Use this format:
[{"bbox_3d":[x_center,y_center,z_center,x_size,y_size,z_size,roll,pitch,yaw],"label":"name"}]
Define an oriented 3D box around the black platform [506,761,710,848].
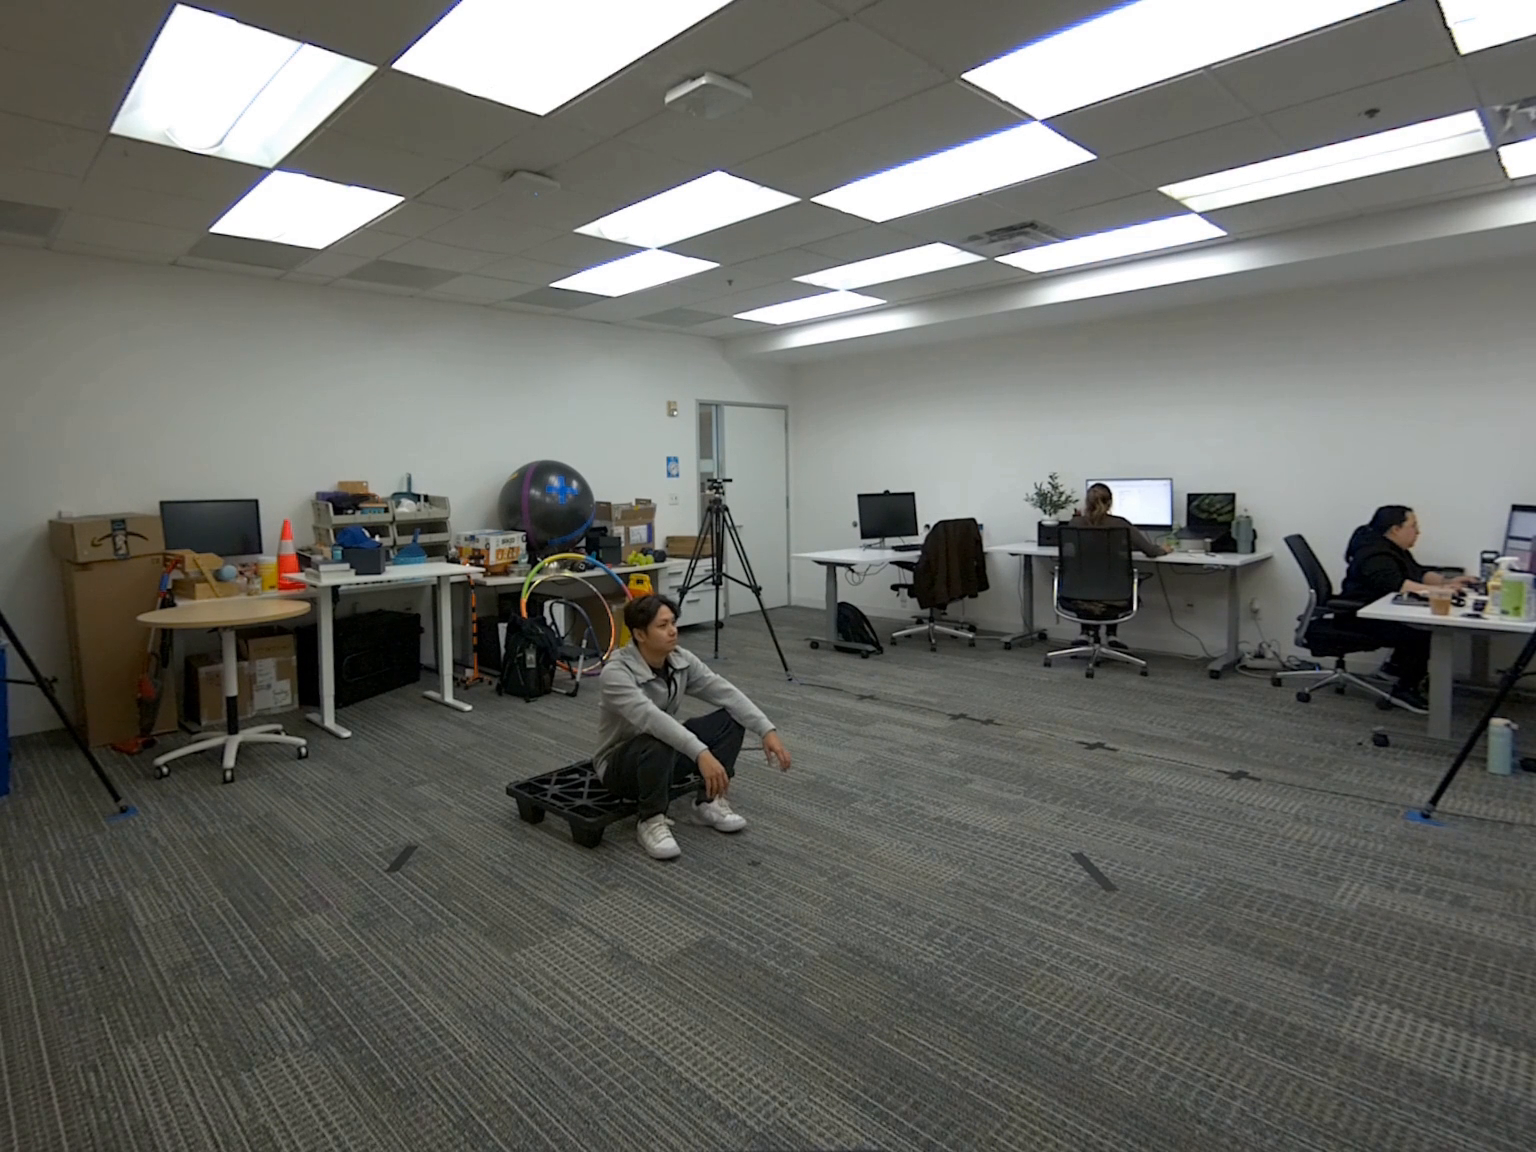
[{"bbox_3d":[-0.614,0.925,3.670,0.624,0.142,0.785,5,9,41],"label":"black platform"}]
